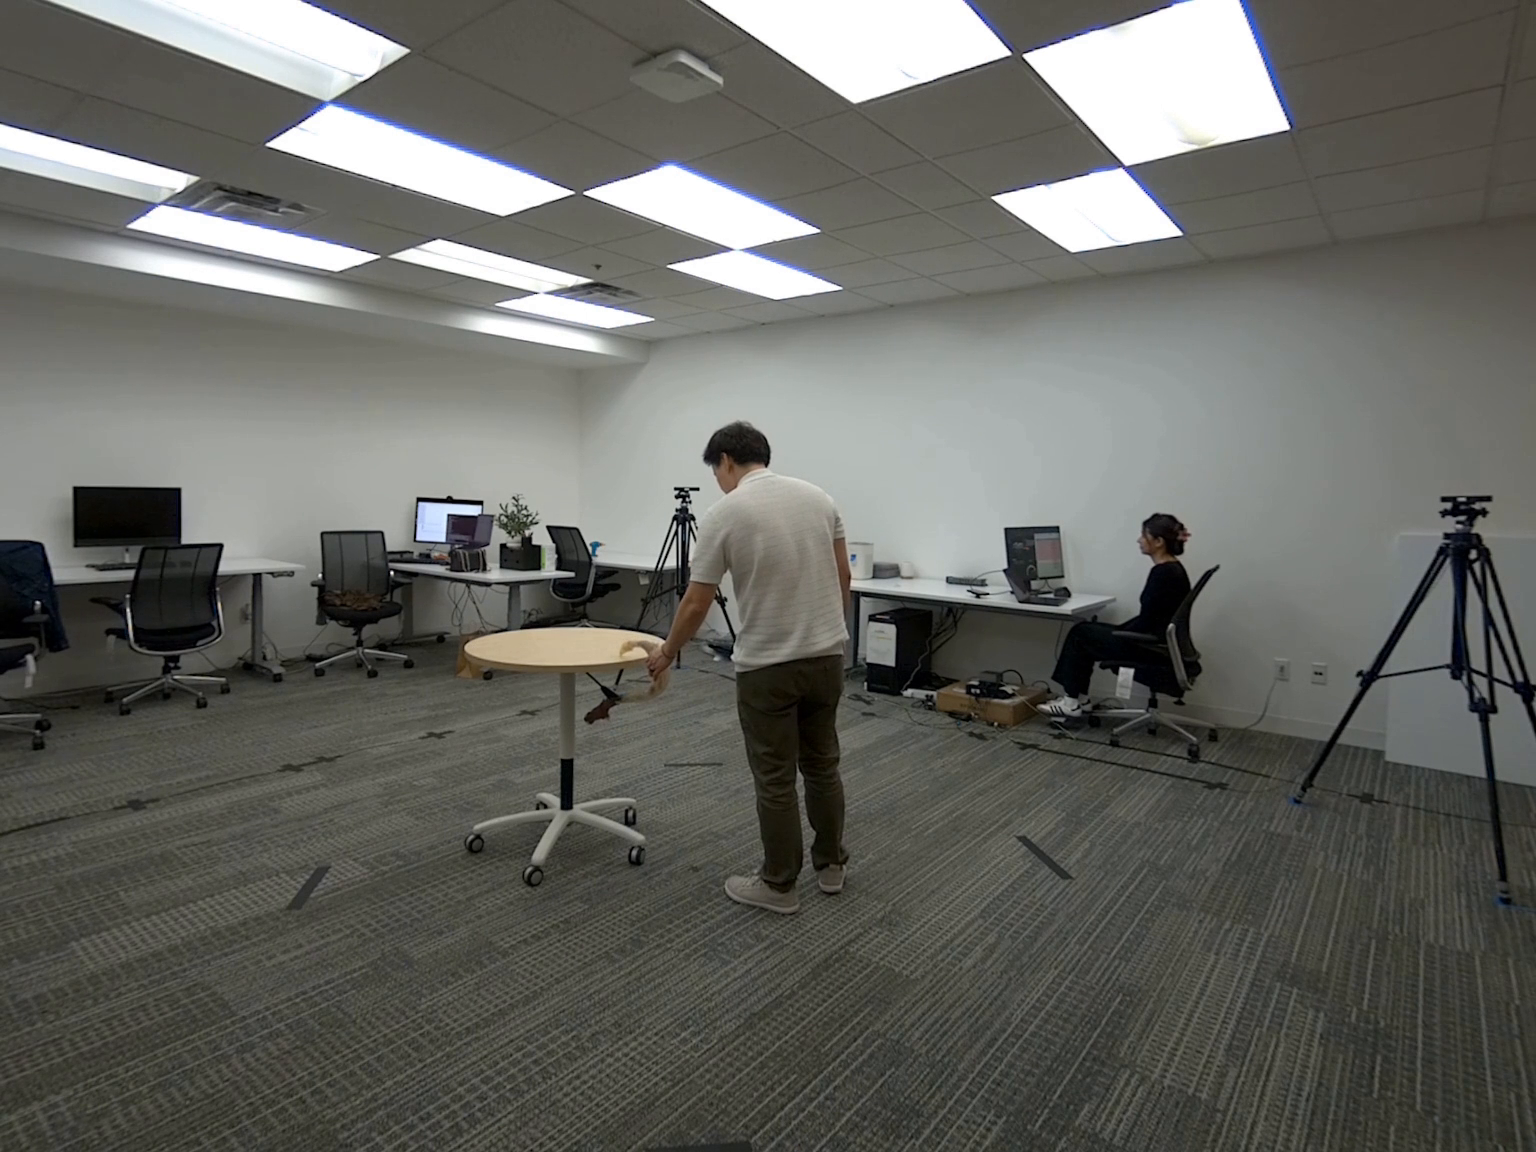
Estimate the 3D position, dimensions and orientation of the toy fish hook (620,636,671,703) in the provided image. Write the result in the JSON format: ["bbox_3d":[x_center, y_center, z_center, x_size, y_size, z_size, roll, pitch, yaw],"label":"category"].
[{"bbox_3d":[-0.547,0.384,3.090,0.511,0.229,0.047,-33,-20,35],"label":"toy fish hook"}]
